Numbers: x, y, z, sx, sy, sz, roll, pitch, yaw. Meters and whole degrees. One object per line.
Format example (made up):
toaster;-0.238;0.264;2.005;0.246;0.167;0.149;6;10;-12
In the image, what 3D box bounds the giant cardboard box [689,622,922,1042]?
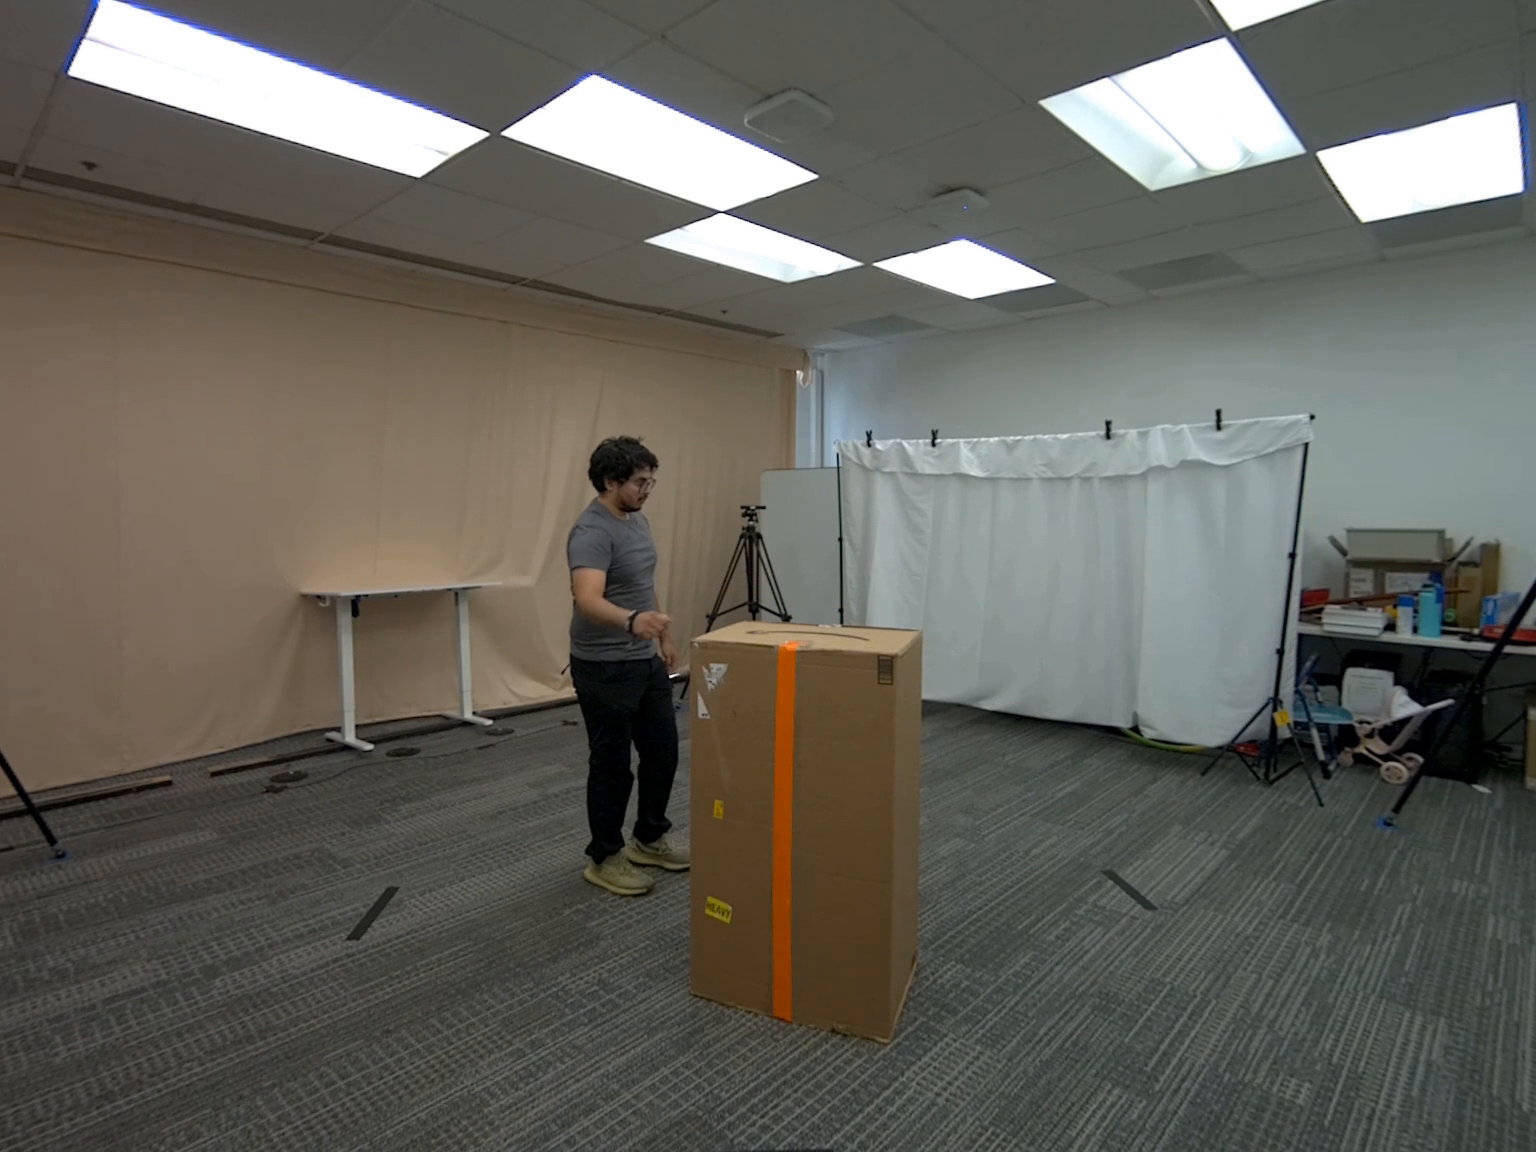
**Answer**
giant cardboard box;0.123;0.680;2.448;0.591;1.024;0.417;1;3;23
